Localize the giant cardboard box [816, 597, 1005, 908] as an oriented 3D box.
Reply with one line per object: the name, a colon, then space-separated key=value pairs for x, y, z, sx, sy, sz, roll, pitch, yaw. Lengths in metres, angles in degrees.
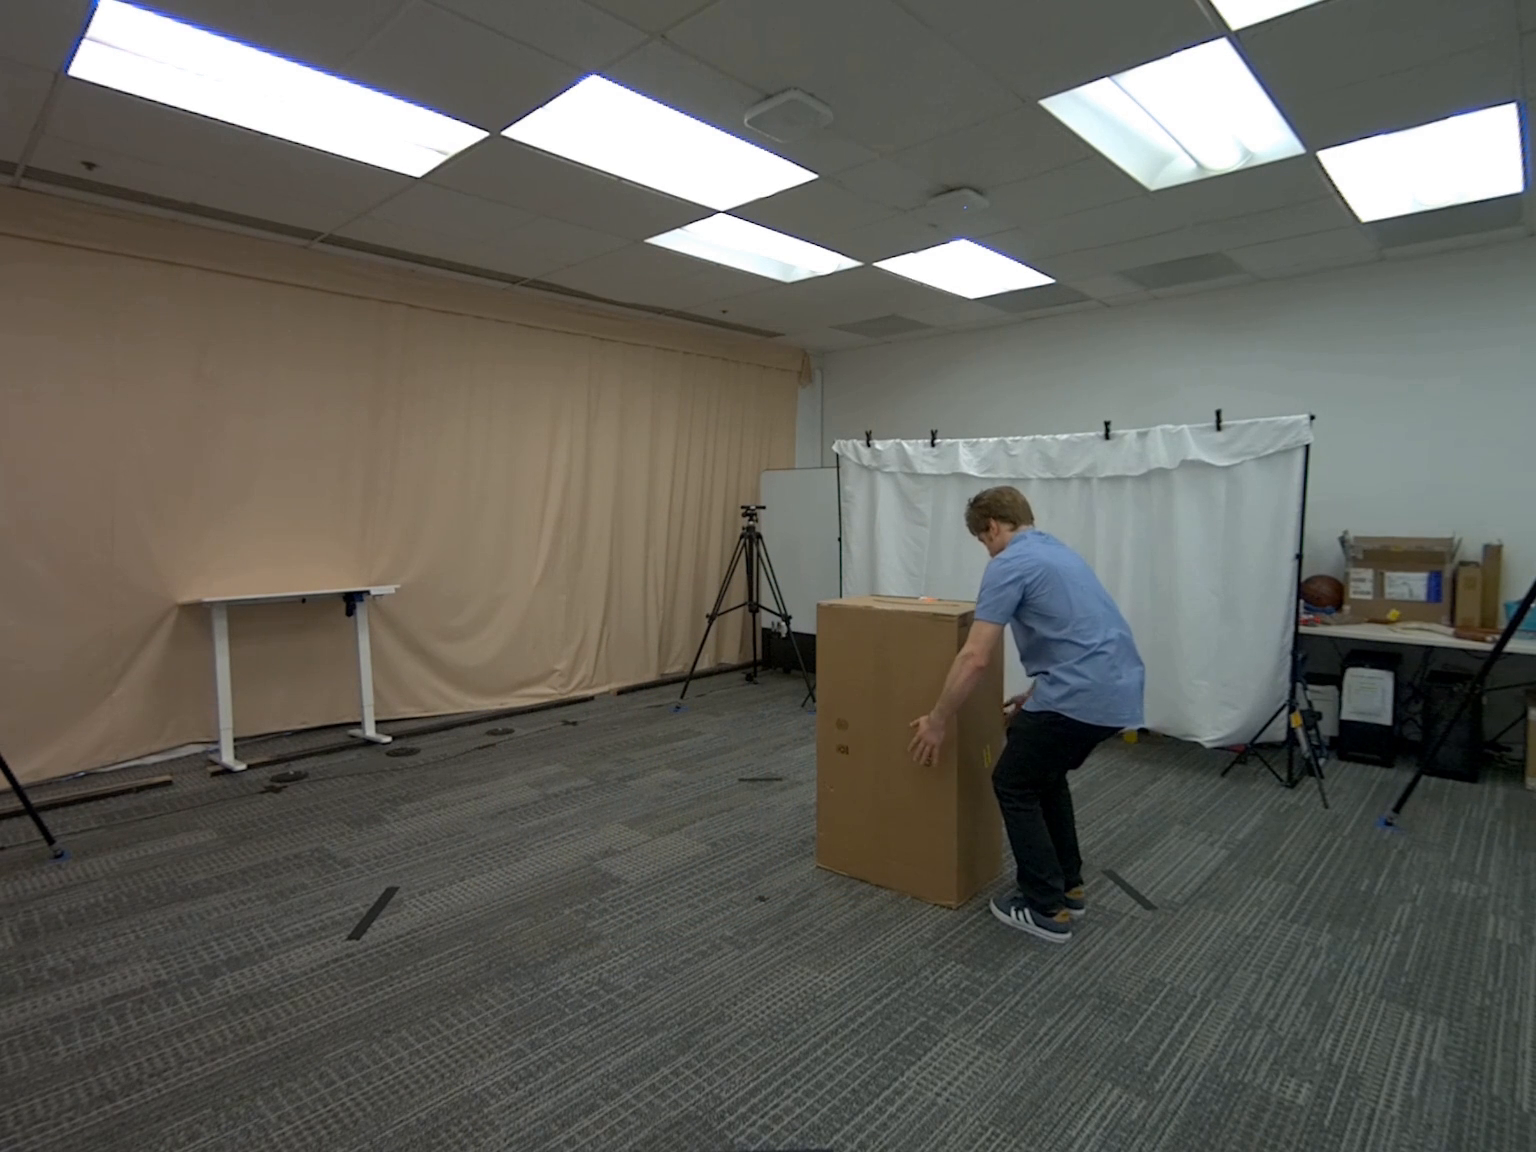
giant cardboard box: x=0.539 y=0.614 z=3.213 sx=0.596 sy=1.024 sz=0.413 roll=2 pitch=3 yaw=39
